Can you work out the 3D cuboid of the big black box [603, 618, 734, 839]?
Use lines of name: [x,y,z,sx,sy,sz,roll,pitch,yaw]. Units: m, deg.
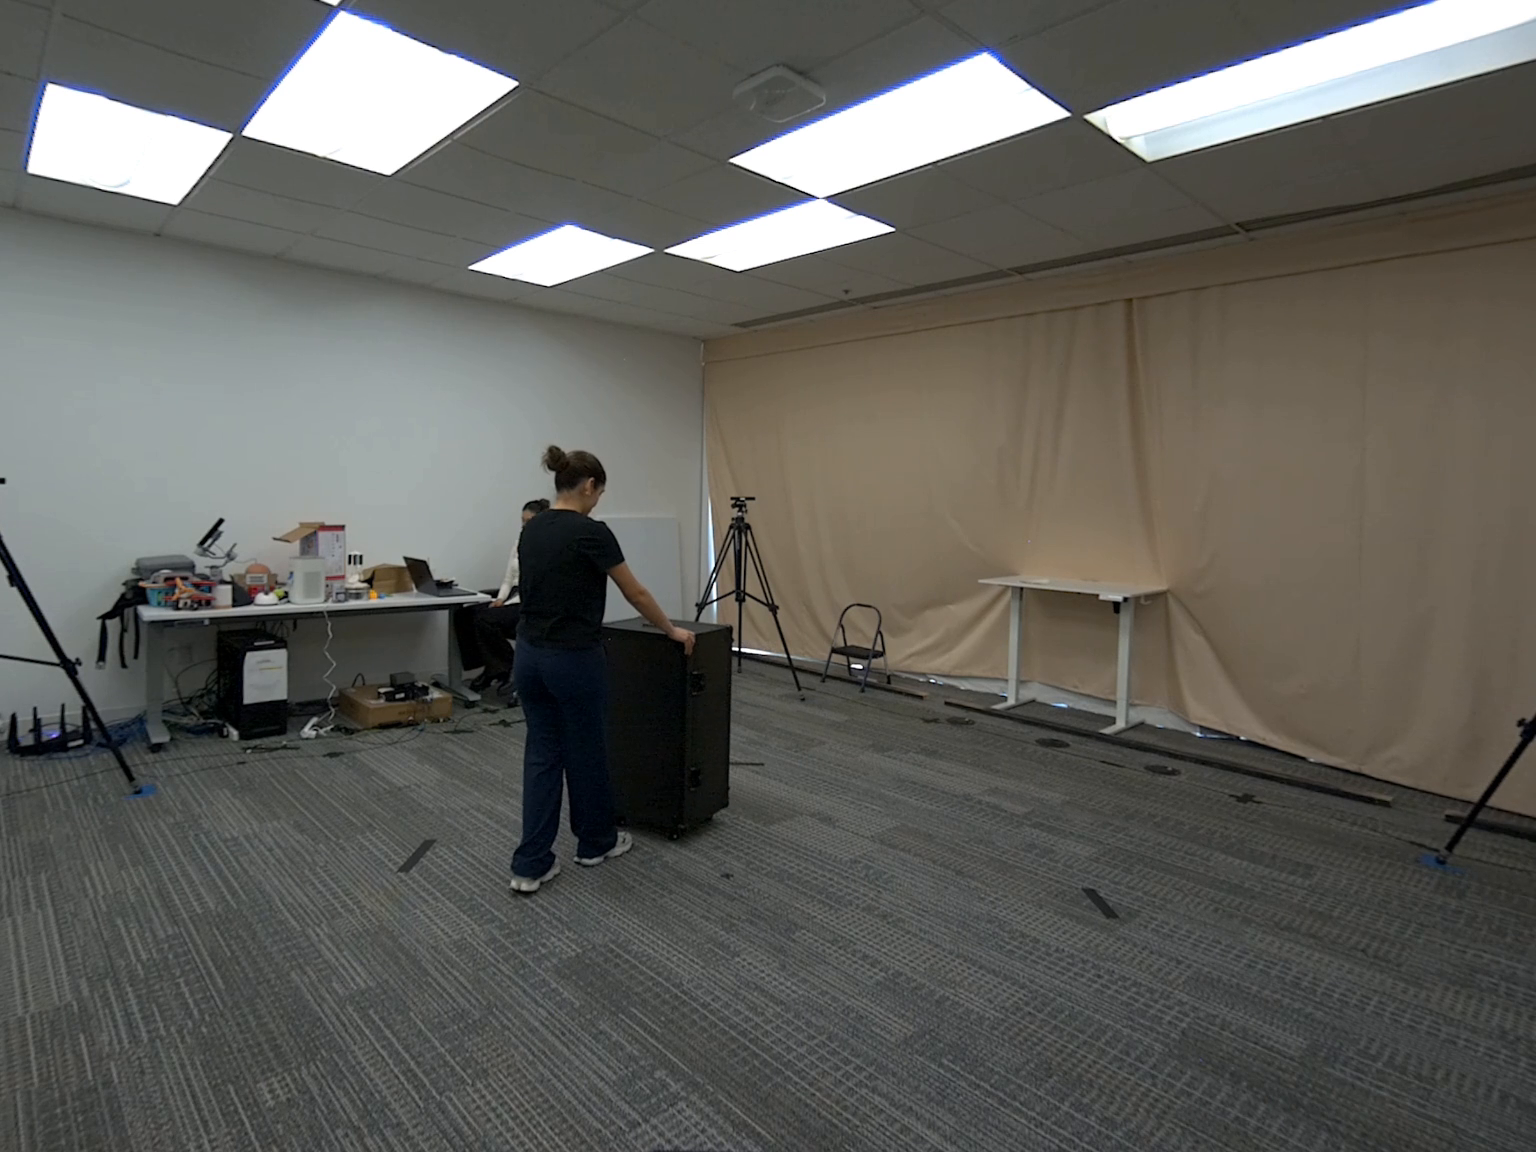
big black box: [-0.454,0.630,3.571,0.532,0.860,0.388,3,3,30]
